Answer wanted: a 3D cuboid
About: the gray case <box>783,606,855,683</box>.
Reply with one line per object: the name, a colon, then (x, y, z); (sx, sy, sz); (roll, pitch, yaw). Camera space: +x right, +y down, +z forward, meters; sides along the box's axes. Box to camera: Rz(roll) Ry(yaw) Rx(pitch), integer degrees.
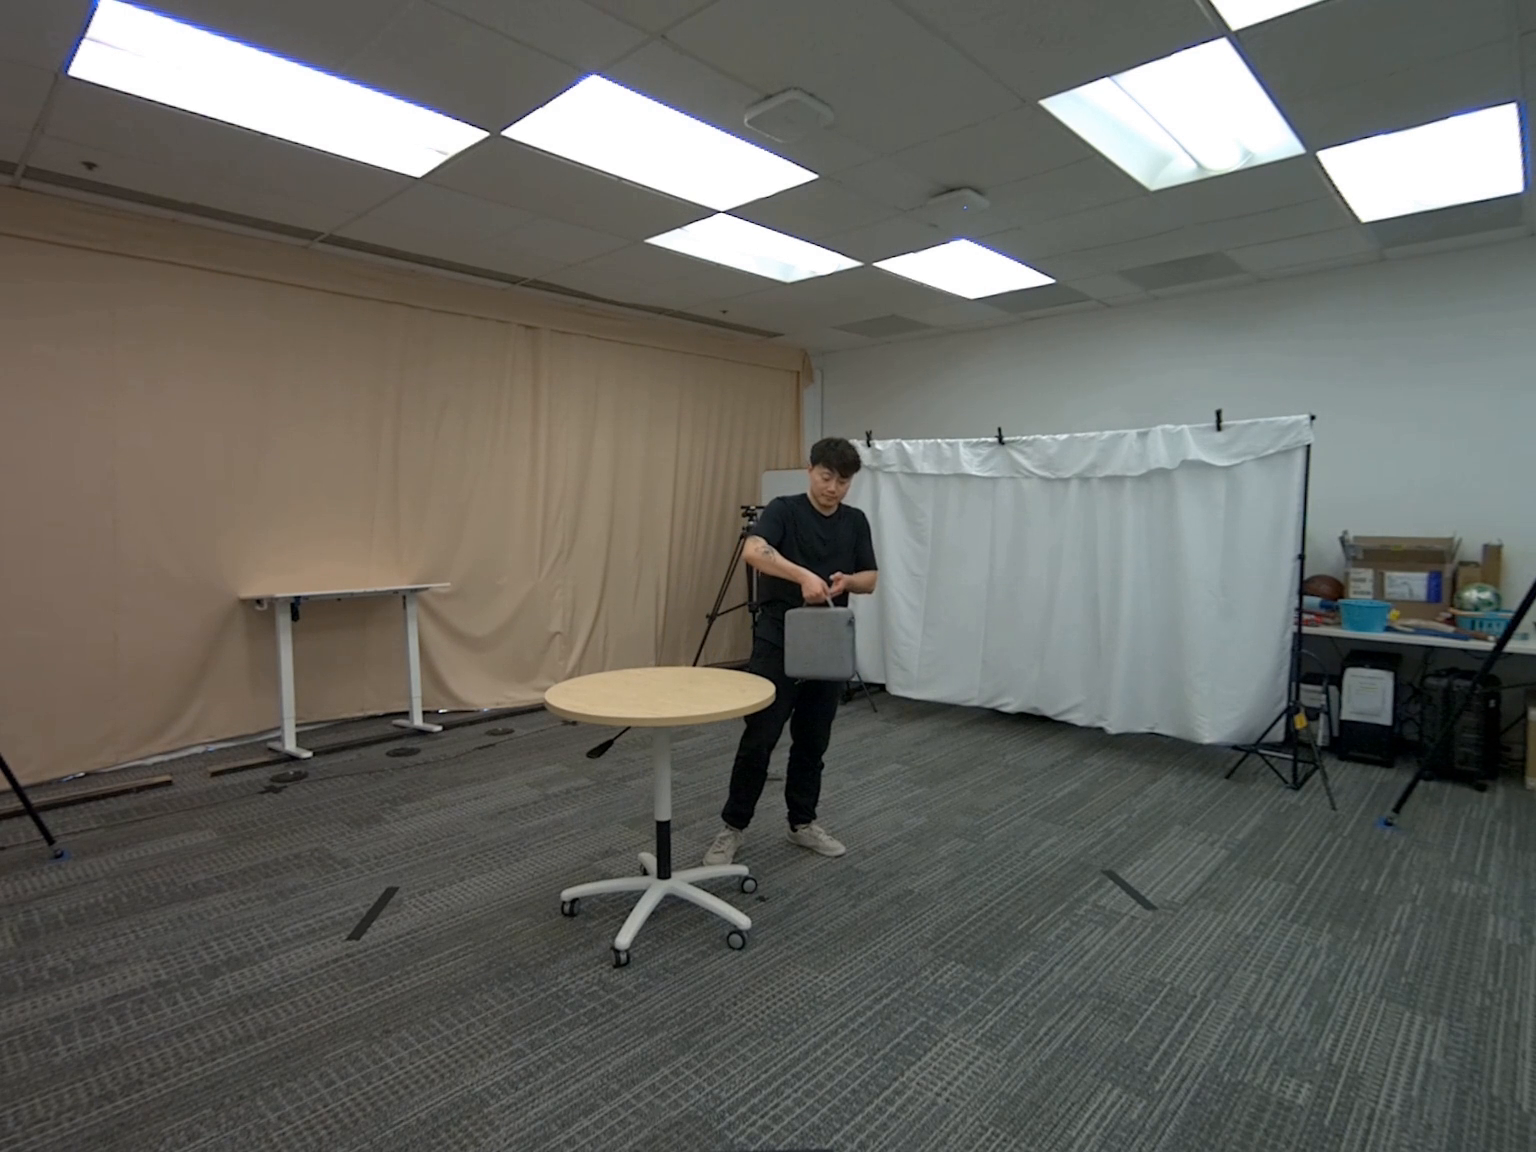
gray case: (0.189, 0.235, 3.017); (0.264, 0.261, 0.101); (-4, -5, 33)
